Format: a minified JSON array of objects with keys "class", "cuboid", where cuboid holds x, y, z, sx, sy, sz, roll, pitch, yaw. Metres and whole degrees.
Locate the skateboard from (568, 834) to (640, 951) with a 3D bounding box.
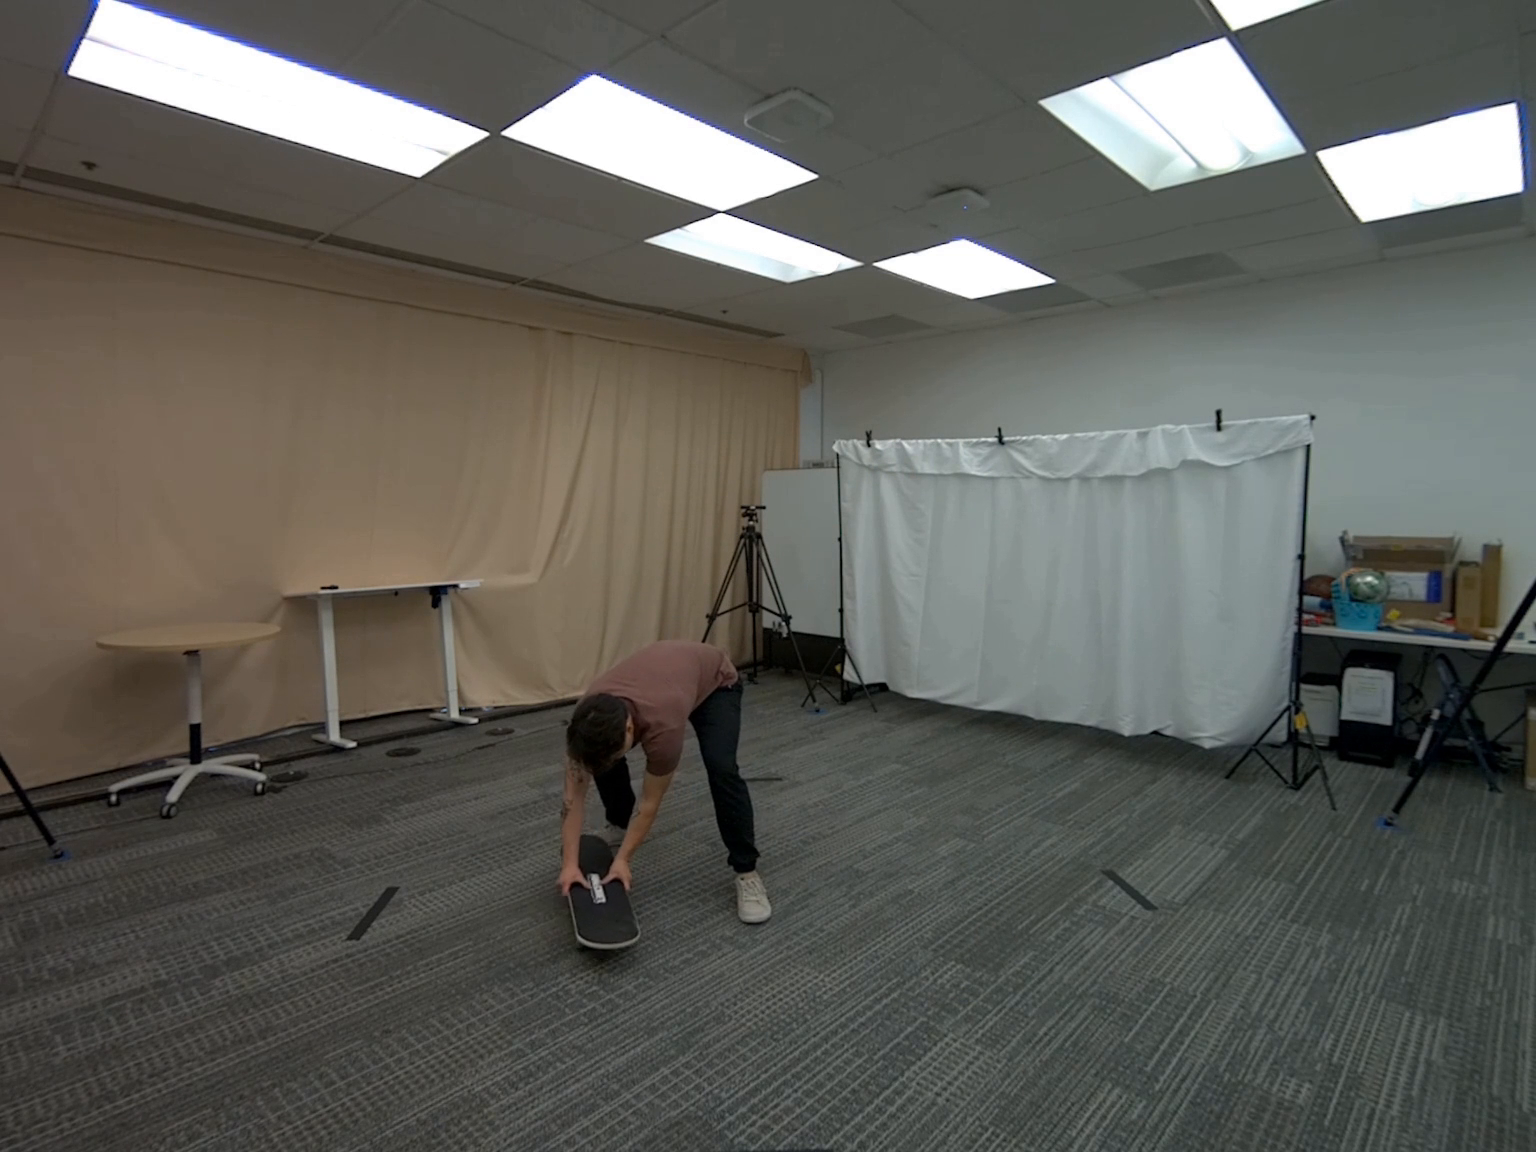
[{"class":"skateboard","cuboid":[-0.577,1.092,2.856,0.190,0.110,0.801,1,6,-18]}]
